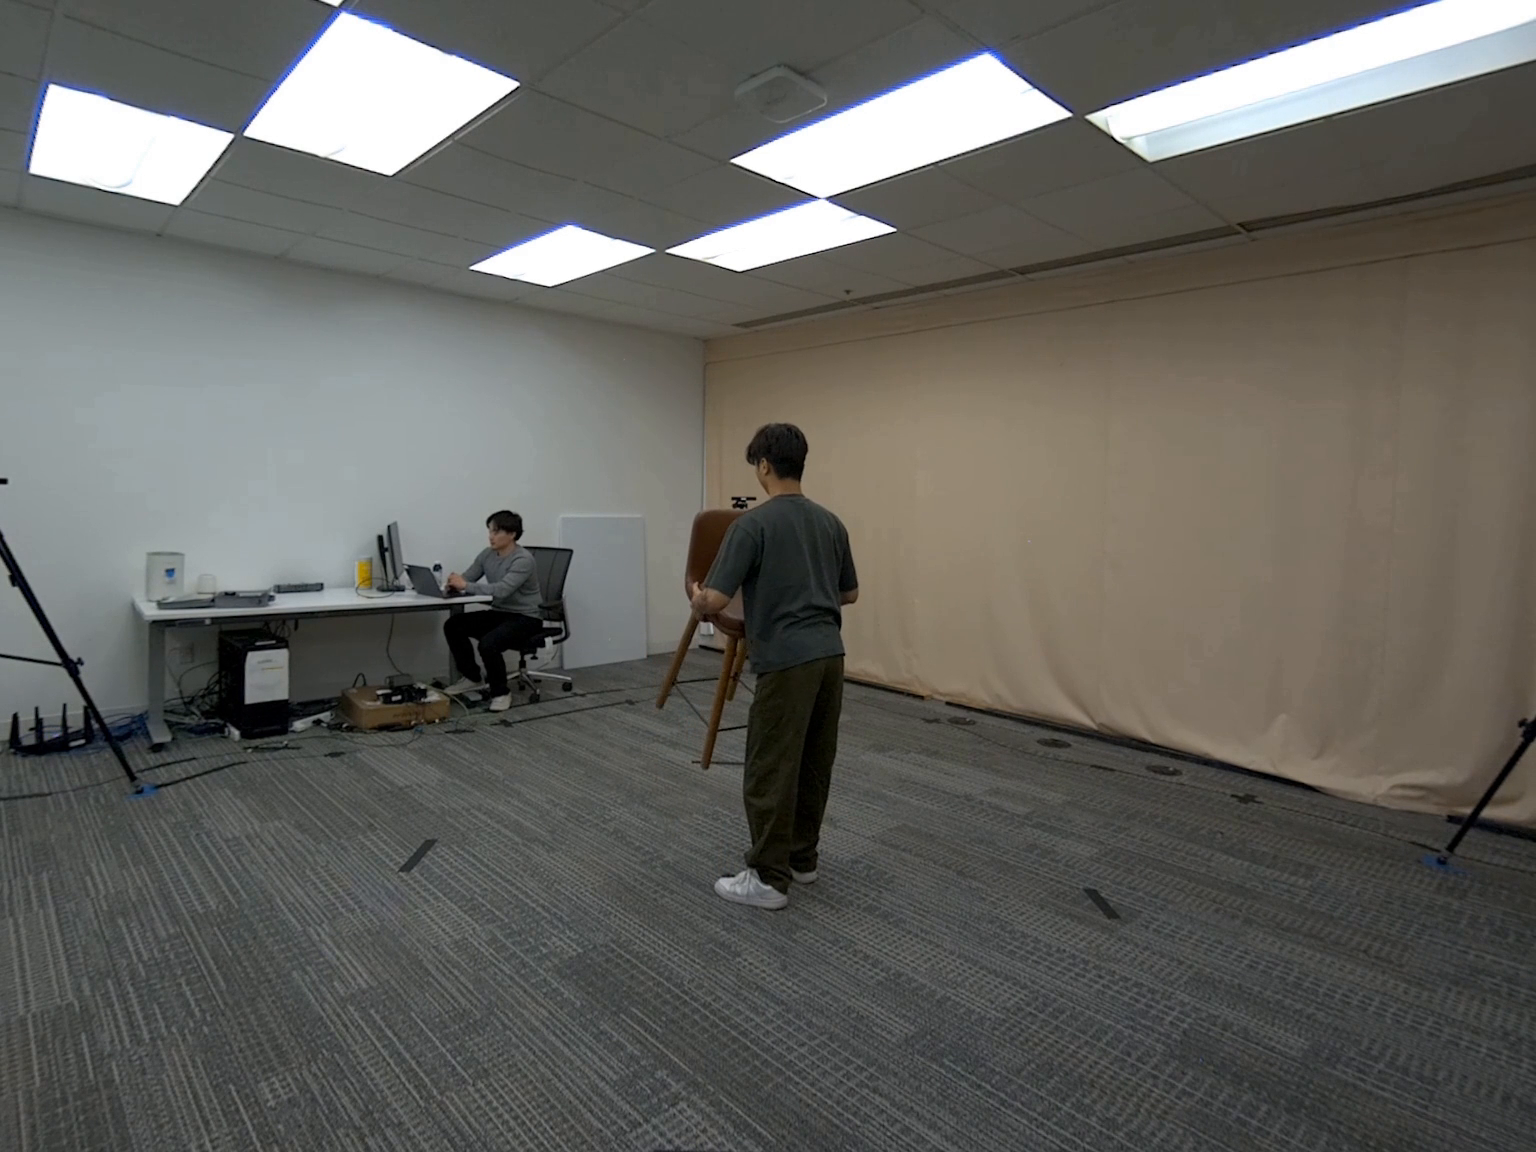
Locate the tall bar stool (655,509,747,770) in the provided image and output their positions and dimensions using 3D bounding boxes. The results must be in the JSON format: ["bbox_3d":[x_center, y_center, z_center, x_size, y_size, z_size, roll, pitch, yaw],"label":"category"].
[{"bbox_3d":[-0.105,0.234,3.288,0.446,0.882,0.482,1,20,-35],"label":"tall bar stool"}]
